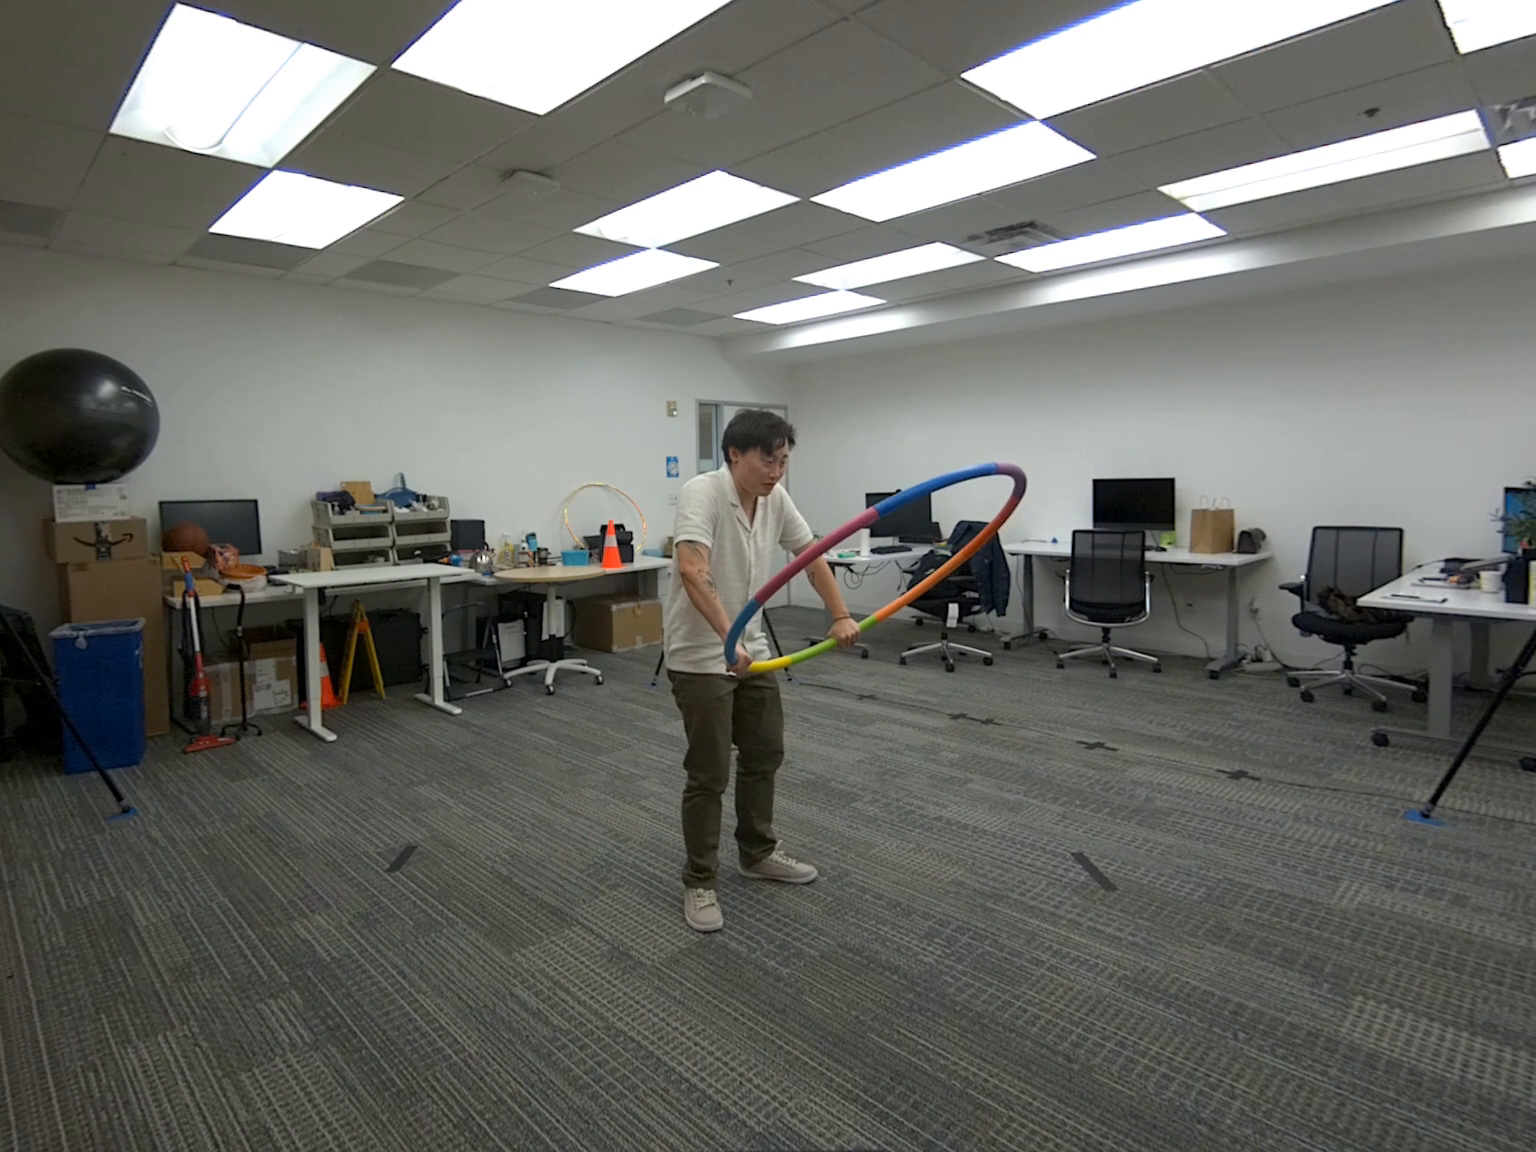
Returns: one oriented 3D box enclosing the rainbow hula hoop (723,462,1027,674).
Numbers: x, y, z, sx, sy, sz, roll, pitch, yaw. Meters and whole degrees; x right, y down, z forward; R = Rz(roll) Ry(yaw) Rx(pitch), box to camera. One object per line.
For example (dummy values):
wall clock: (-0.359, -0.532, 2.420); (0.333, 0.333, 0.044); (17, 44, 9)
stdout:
rainbow hula hoop: (0.315, 0.004, 2.439); (0.972, 0.036, 0.959); (-26, -21, -13)
